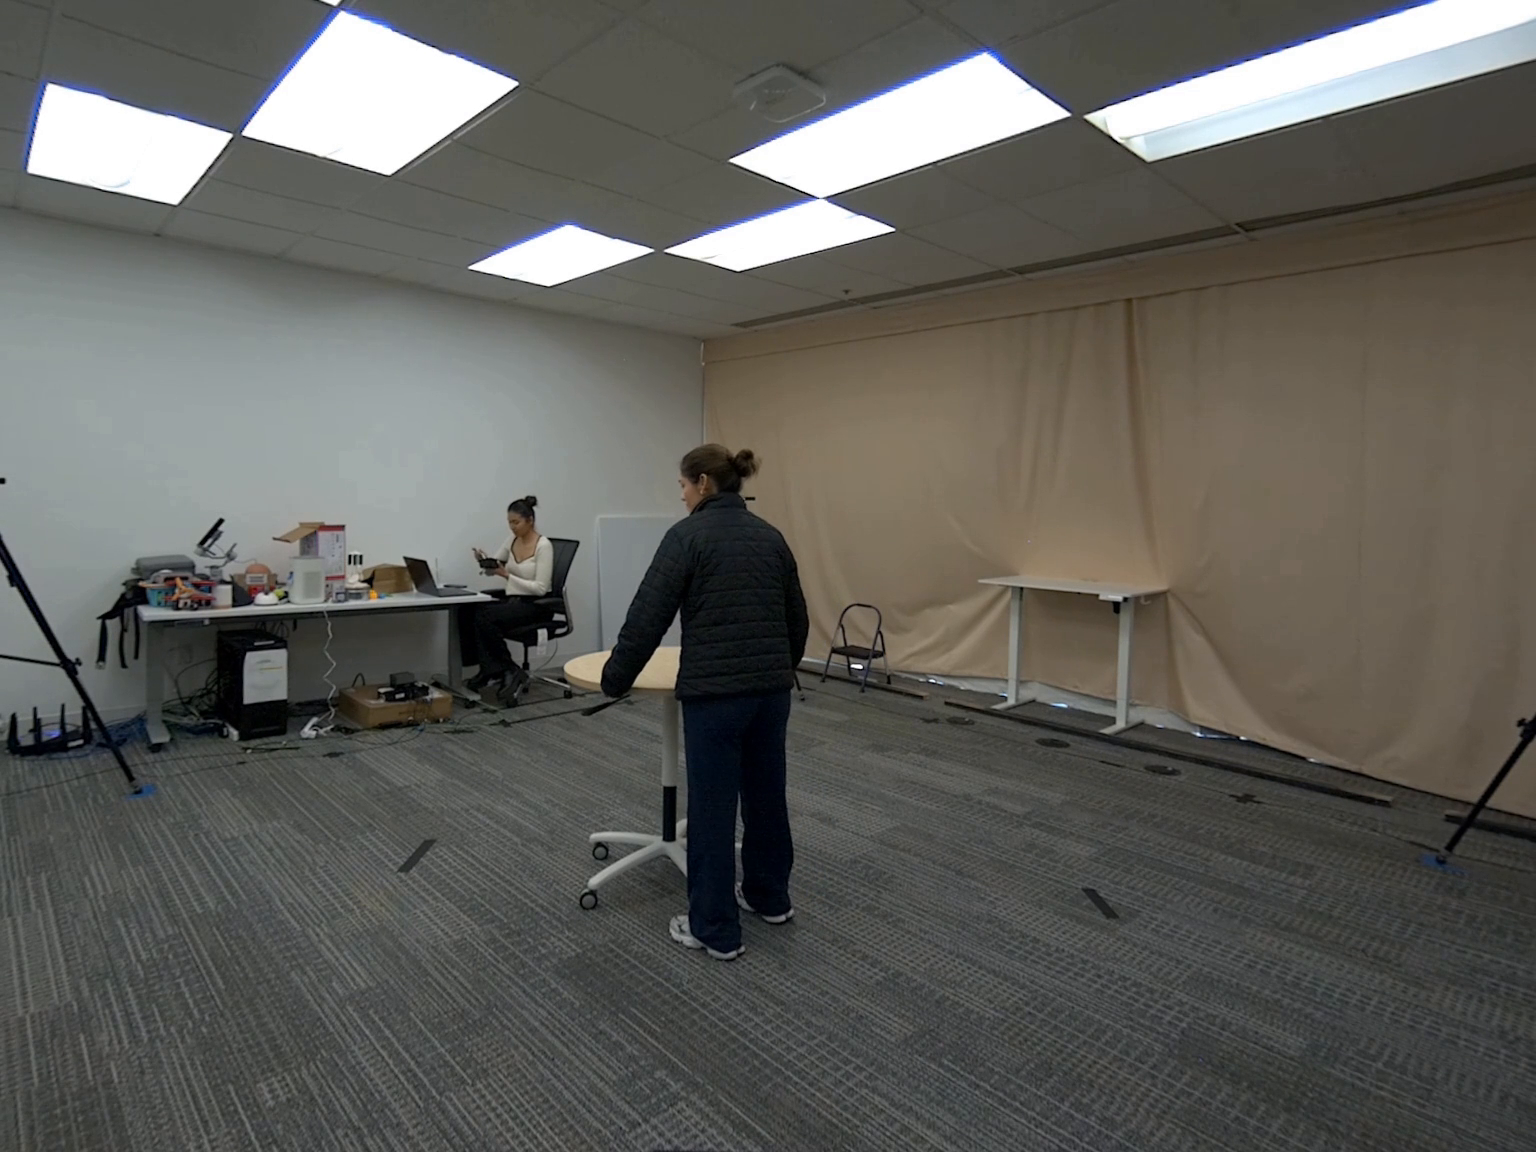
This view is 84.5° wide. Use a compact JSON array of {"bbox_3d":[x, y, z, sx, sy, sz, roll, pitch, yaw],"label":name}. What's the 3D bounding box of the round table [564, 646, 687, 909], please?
[{"bbox_3d":[-0.358,0.716,3.037,0.784,0.785,0.787,1,4,-1],"label":"round table"}]
